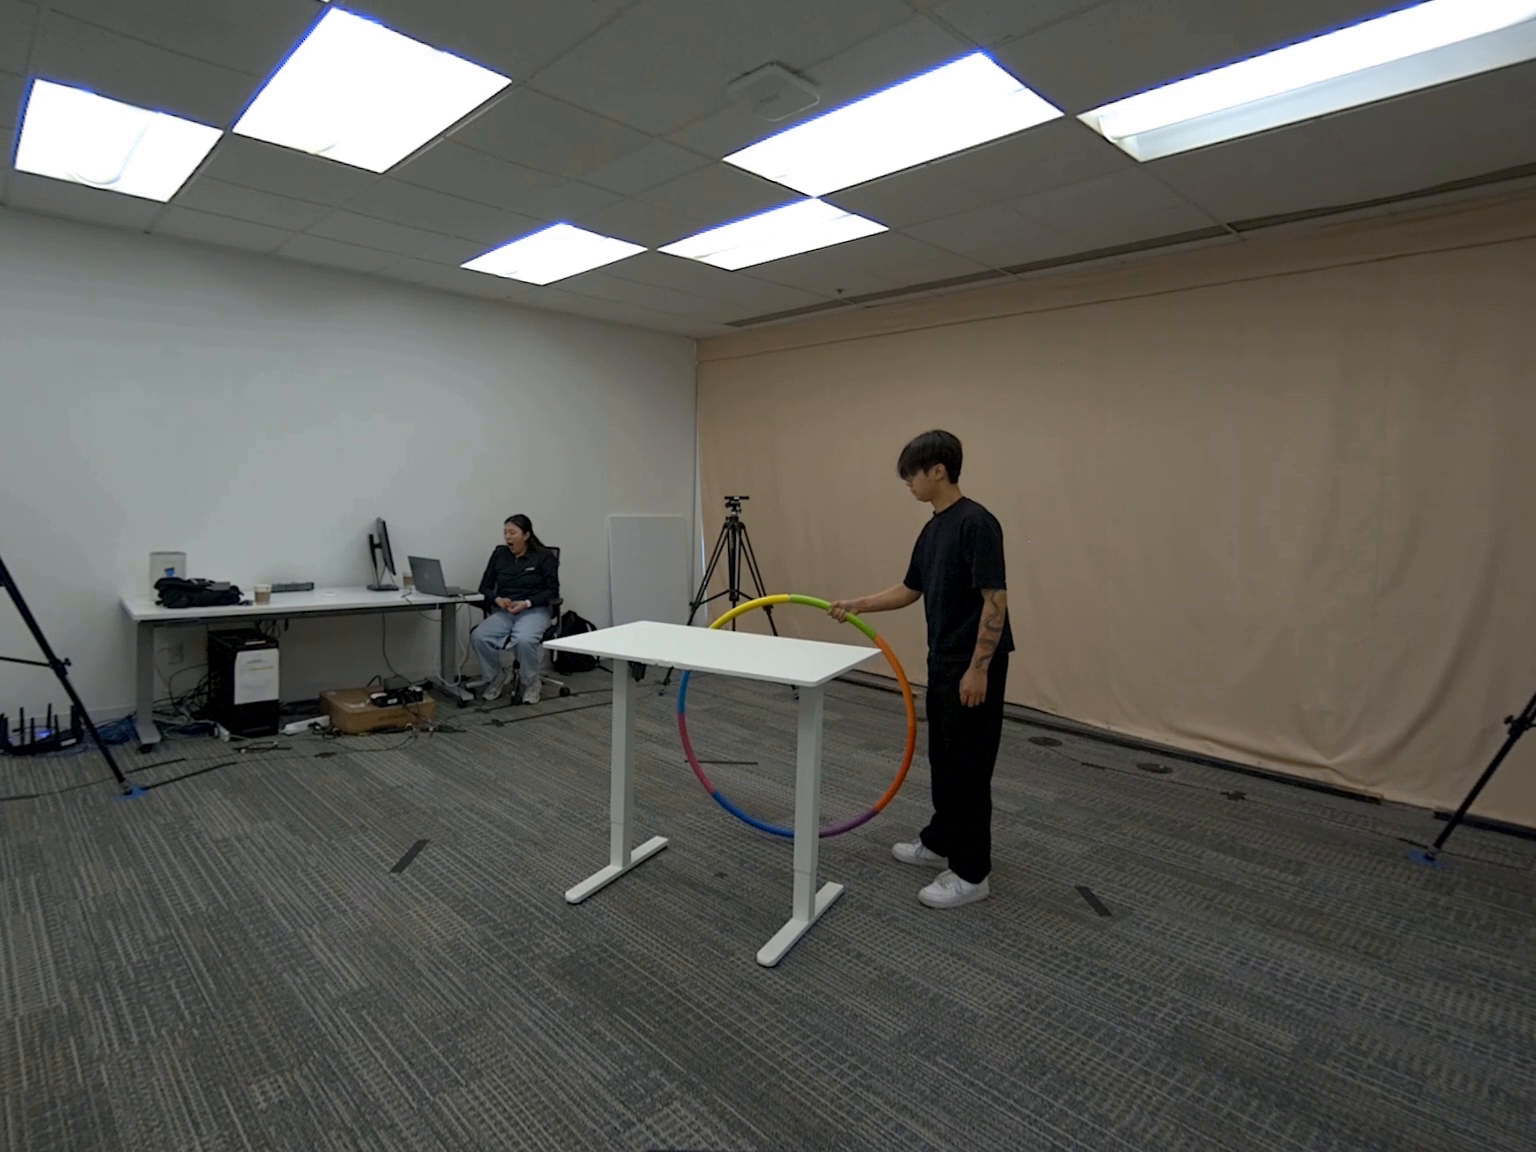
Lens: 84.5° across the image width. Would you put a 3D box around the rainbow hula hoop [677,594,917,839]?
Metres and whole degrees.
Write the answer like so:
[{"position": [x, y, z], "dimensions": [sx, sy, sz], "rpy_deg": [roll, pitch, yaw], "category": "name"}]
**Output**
[{"position": [0.085, 0.576, 3.385], "dimensions": [0.992, 0.976, 0.035], "rpy_deg": [3, 4, 17], "category": "rainbow hula hoop"}]
